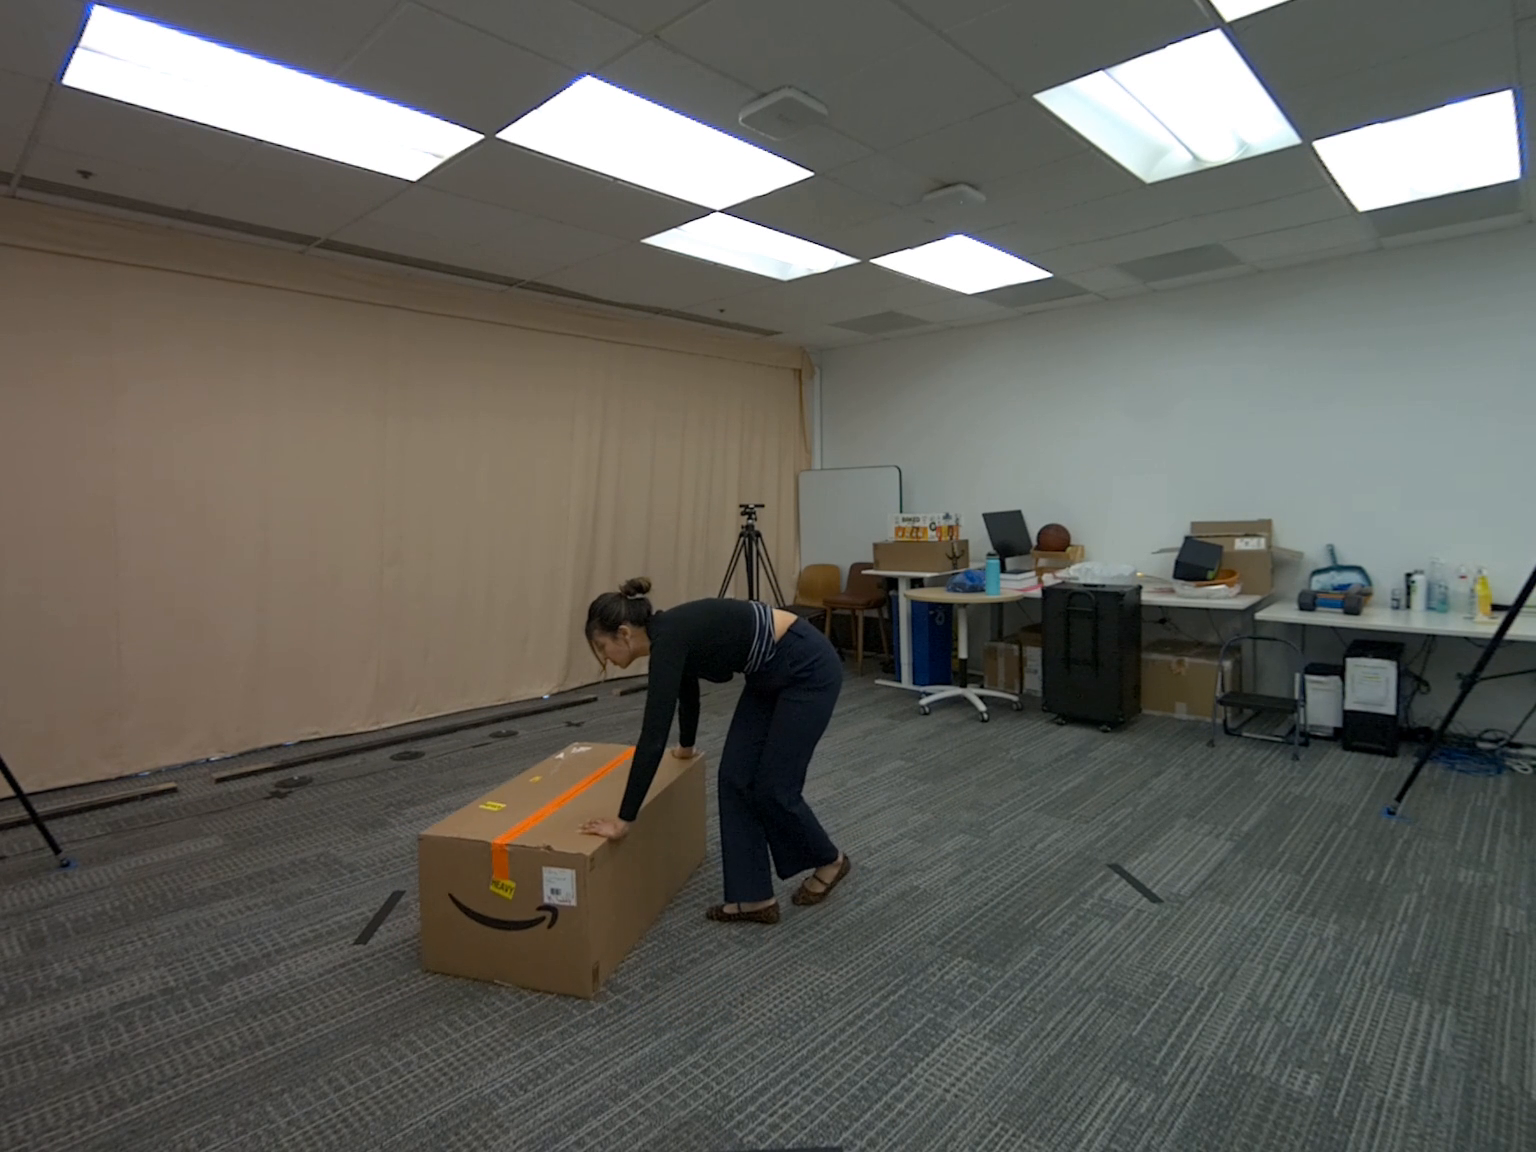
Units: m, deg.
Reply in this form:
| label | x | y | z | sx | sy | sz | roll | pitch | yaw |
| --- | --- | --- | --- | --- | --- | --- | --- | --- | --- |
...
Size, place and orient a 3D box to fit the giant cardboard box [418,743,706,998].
| label | x | y | z | sx | sy | sz | roll | pitch | yaw |
| --- | --- | --- | --- | --- | --- | --- | --- | --- | --- |
| giant cardboard box | -0.646 | 0.941 | 2.937 | 0.588 | 0.425 | 1.011 | 2 | 5 | 15 |
